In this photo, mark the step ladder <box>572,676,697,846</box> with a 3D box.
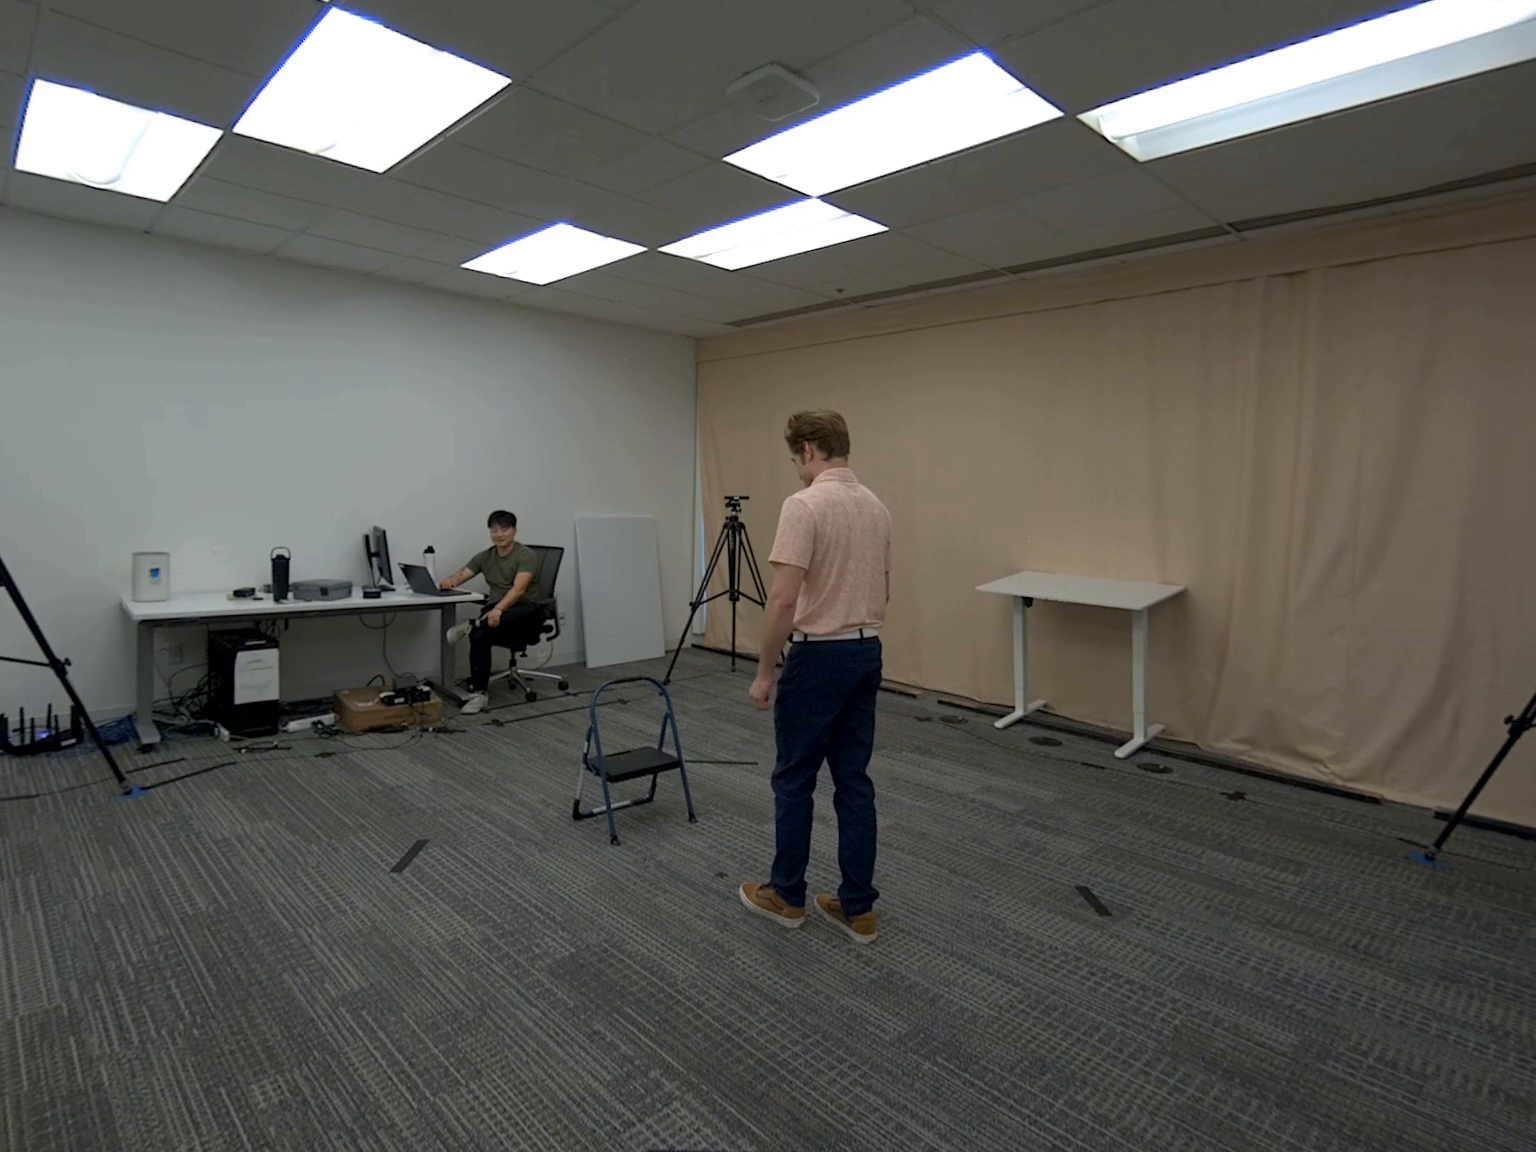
[{"bbox_3d":[-0.572,0.748,3.591,0.421,0.605,0.358,-1,4,-43],"label":"step ladder"}]
